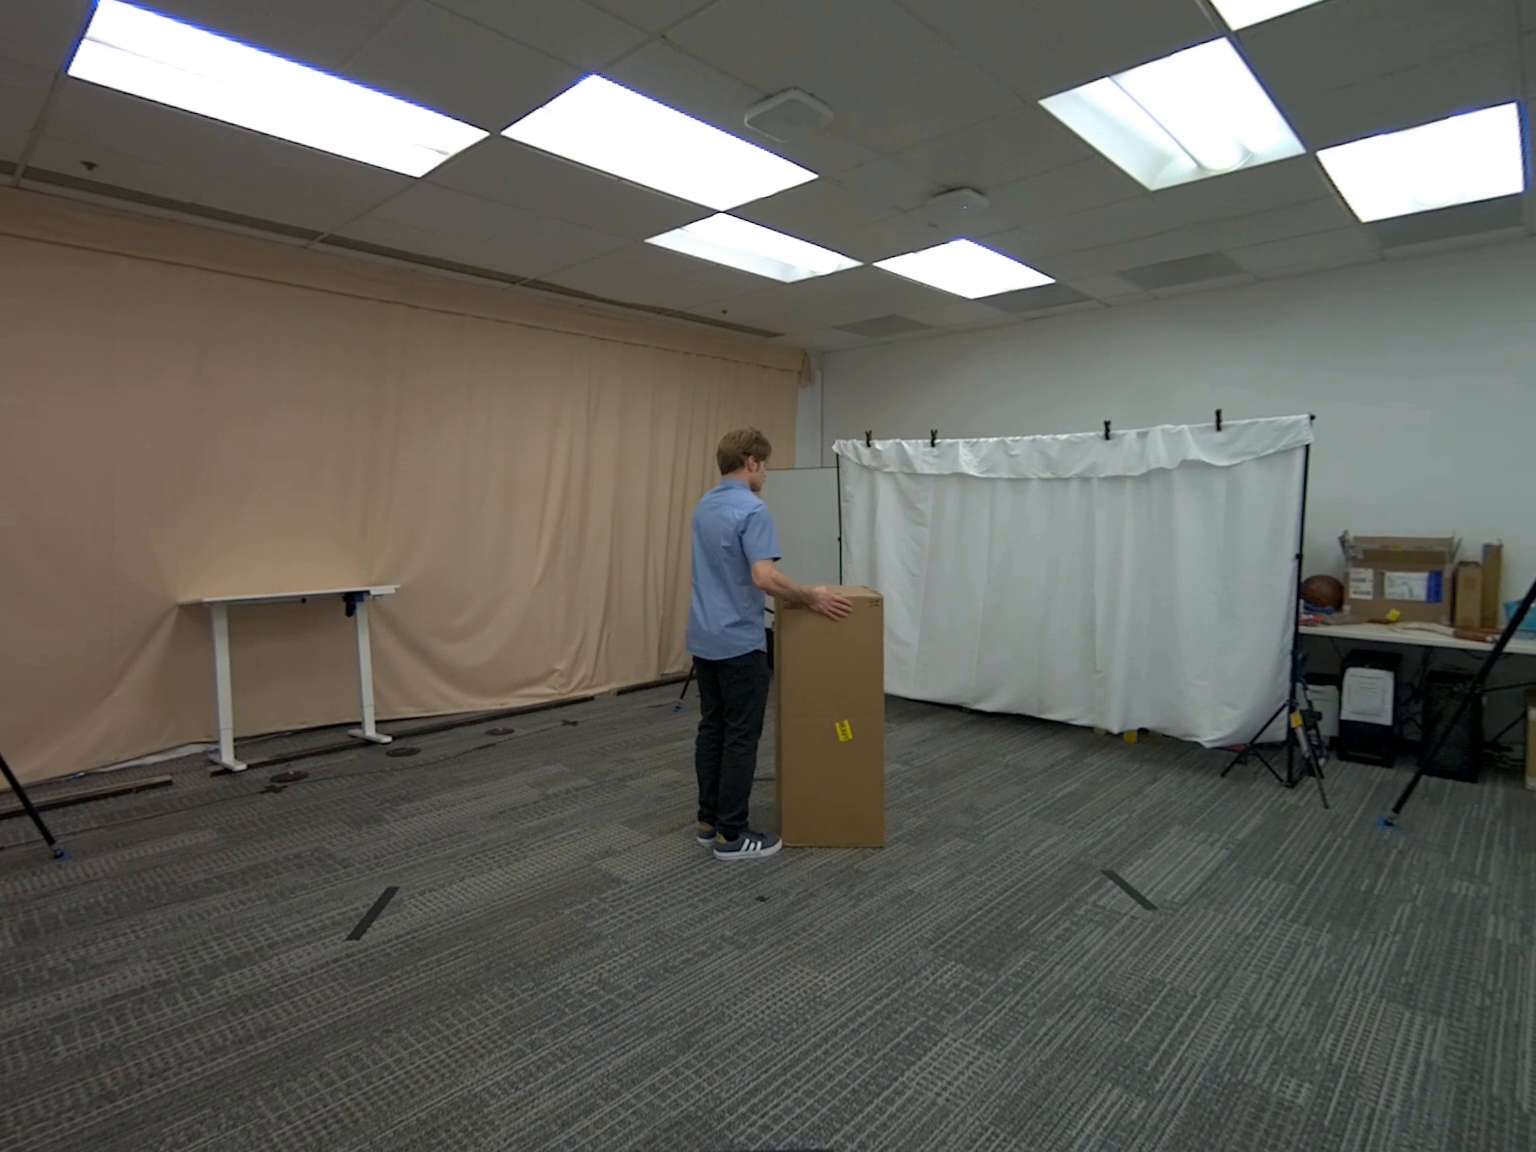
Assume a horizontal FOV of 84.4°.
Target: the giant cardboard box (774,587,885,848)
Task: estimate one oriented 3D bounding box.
[{"bbox_3d":[0.258,0.577,3.700,0.426,1.024,0.579,0,3,-2],"label":"giant cardboard box"}]
